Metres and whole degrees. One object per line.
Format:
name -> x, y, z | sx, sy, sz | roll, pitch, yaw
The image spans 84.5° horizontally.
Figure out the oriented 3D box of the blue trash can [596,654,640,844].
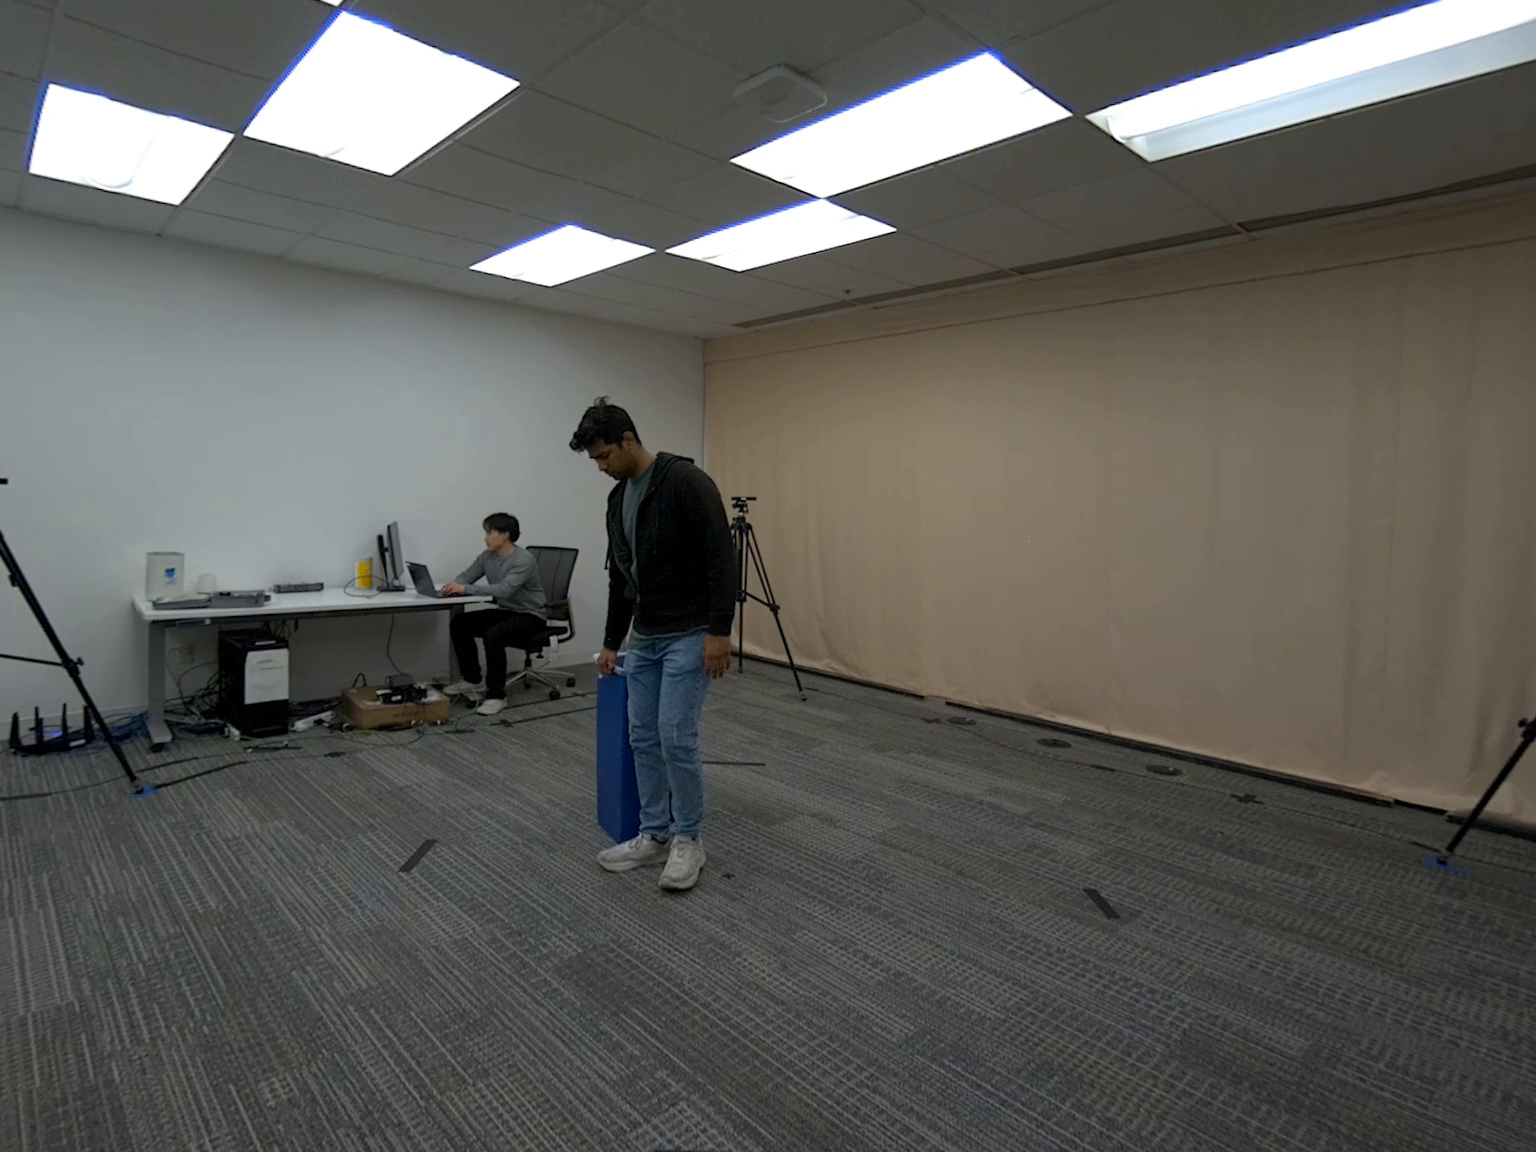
blue trash can -> -0.511, 0.704, 3.513 | 0.370, 0.712, 0.382 | 0, 3, -31
